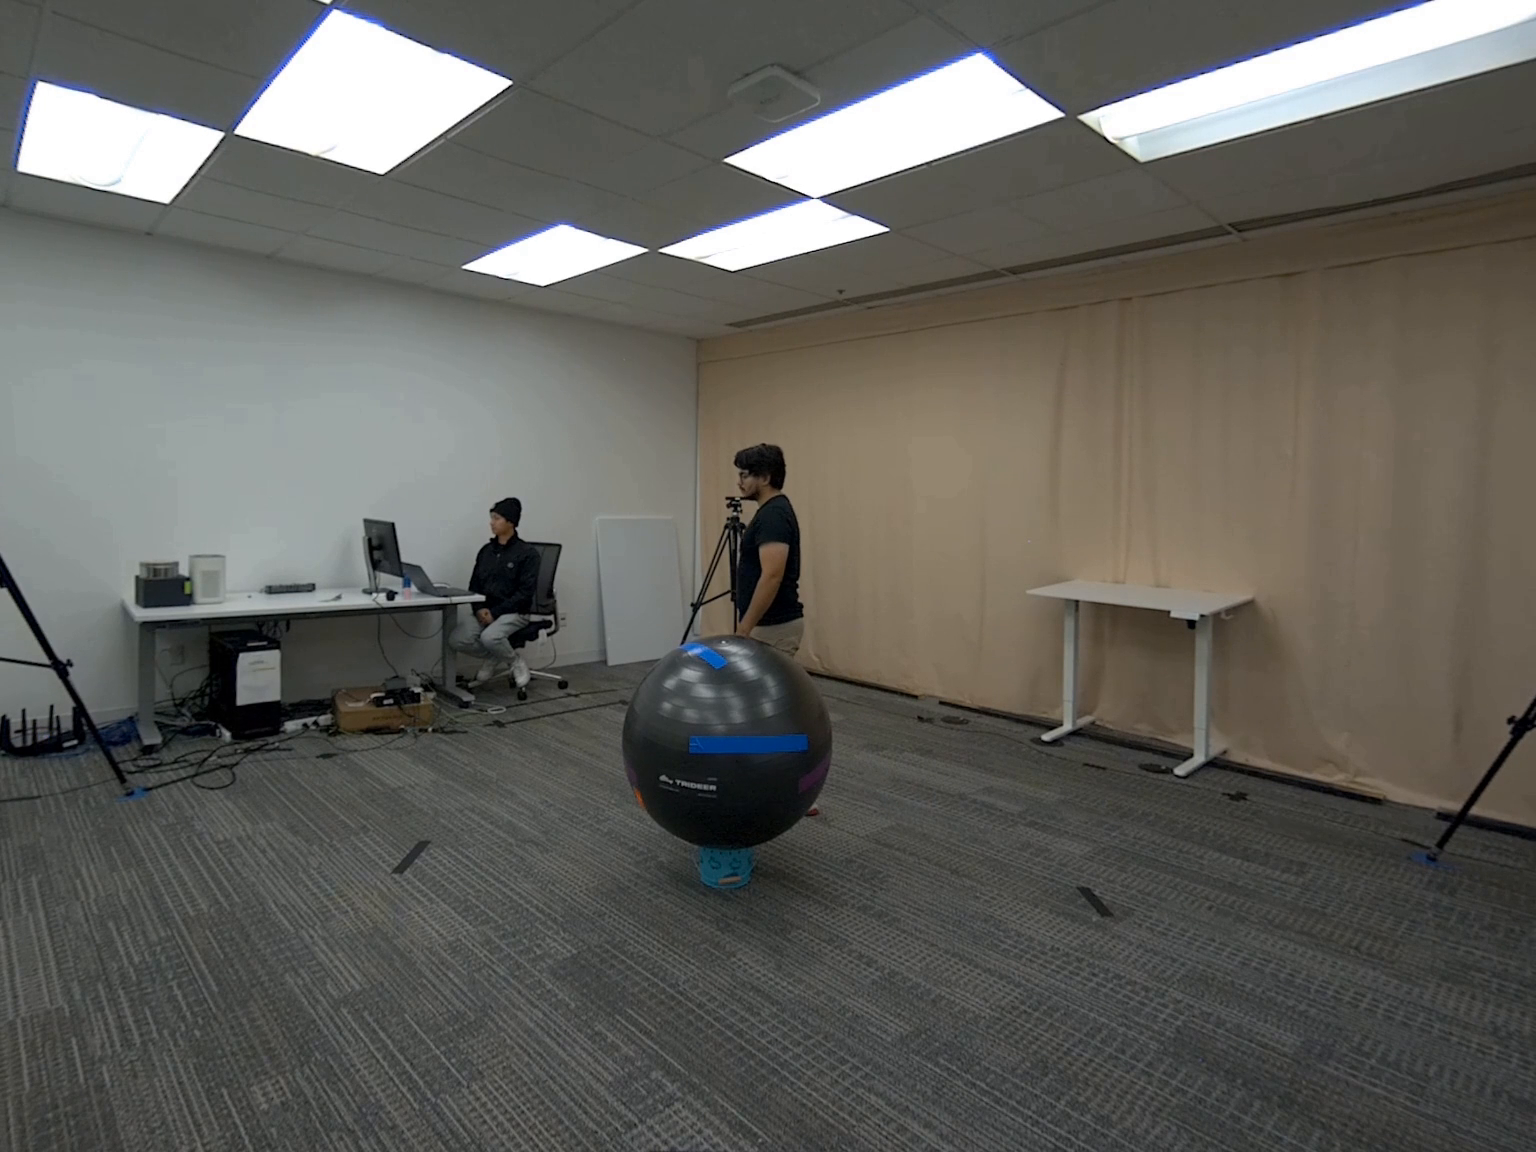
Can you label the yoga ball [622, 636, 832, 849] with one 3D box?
[{"bbox_3d":[-0.156,0.602,3.053,0.757,0.756,0.760,1,4,-1],"label":"yoga ball"}]
